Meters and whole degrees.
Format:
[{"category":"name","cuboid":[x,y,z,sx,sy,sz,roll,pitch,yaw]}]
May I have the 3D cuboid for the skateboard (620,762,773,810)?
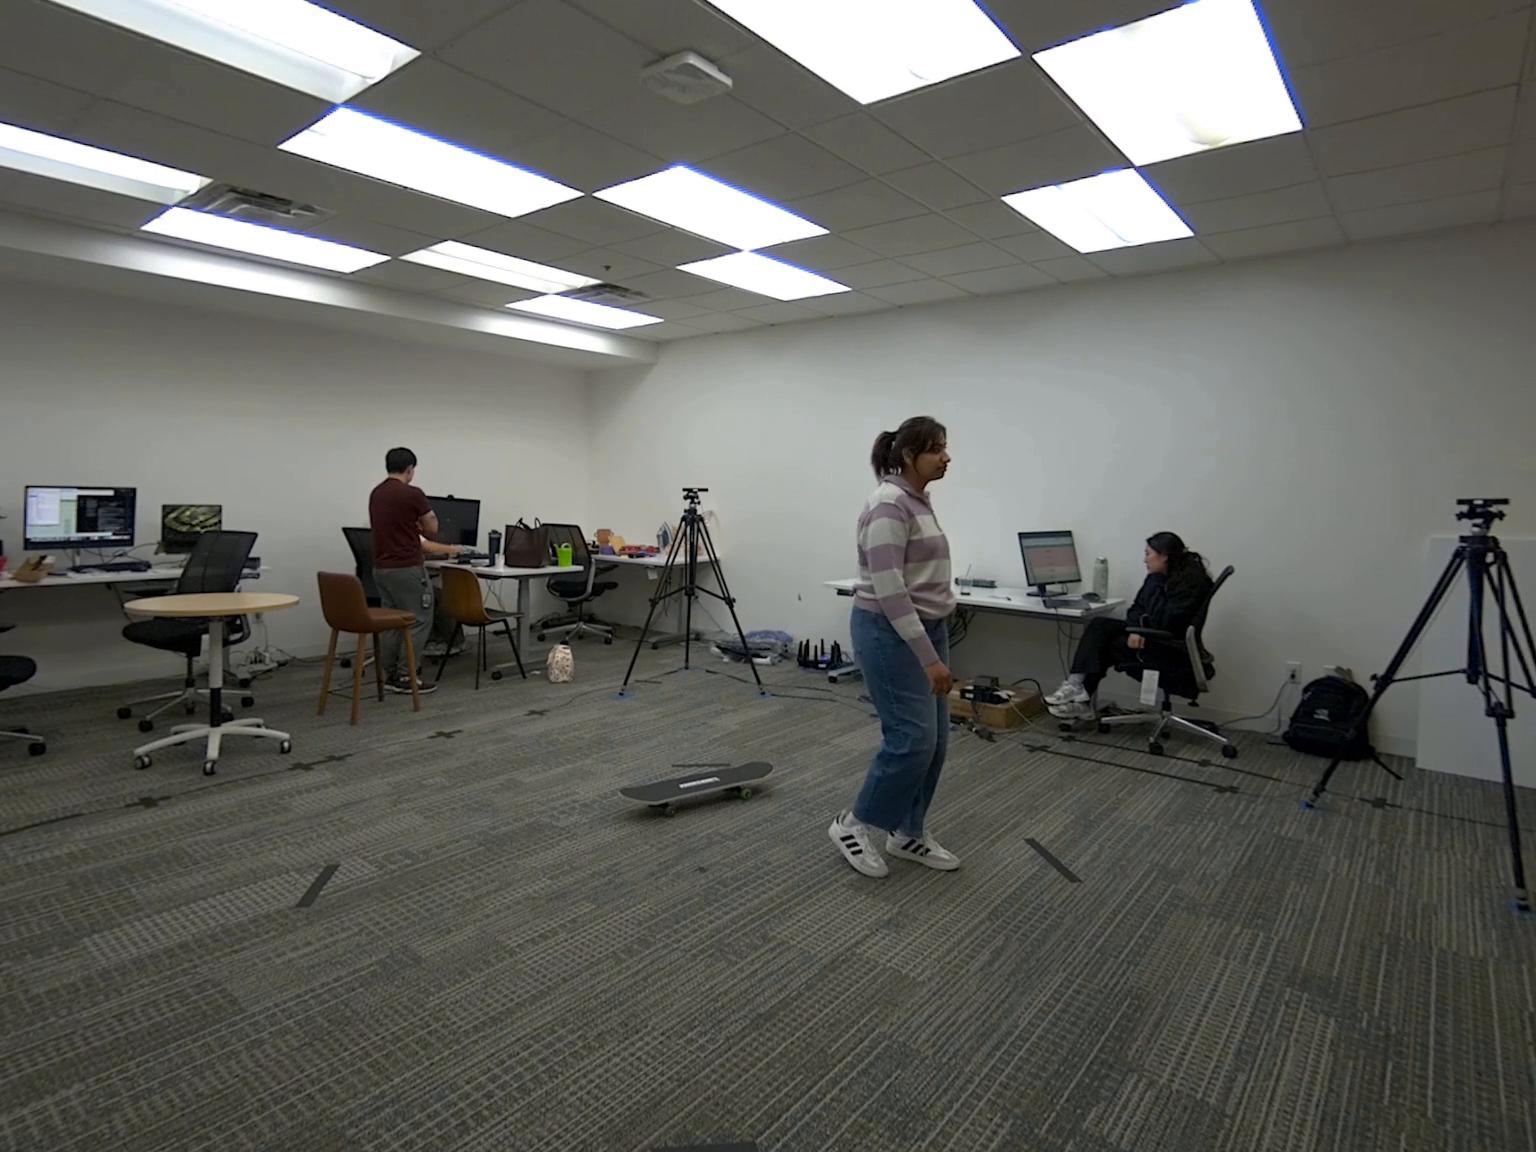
[{"category":"skateboard","cuboid":[-0.313,0.945,3.776,0.763,0.110,0.200,-3,7,-35]}]
